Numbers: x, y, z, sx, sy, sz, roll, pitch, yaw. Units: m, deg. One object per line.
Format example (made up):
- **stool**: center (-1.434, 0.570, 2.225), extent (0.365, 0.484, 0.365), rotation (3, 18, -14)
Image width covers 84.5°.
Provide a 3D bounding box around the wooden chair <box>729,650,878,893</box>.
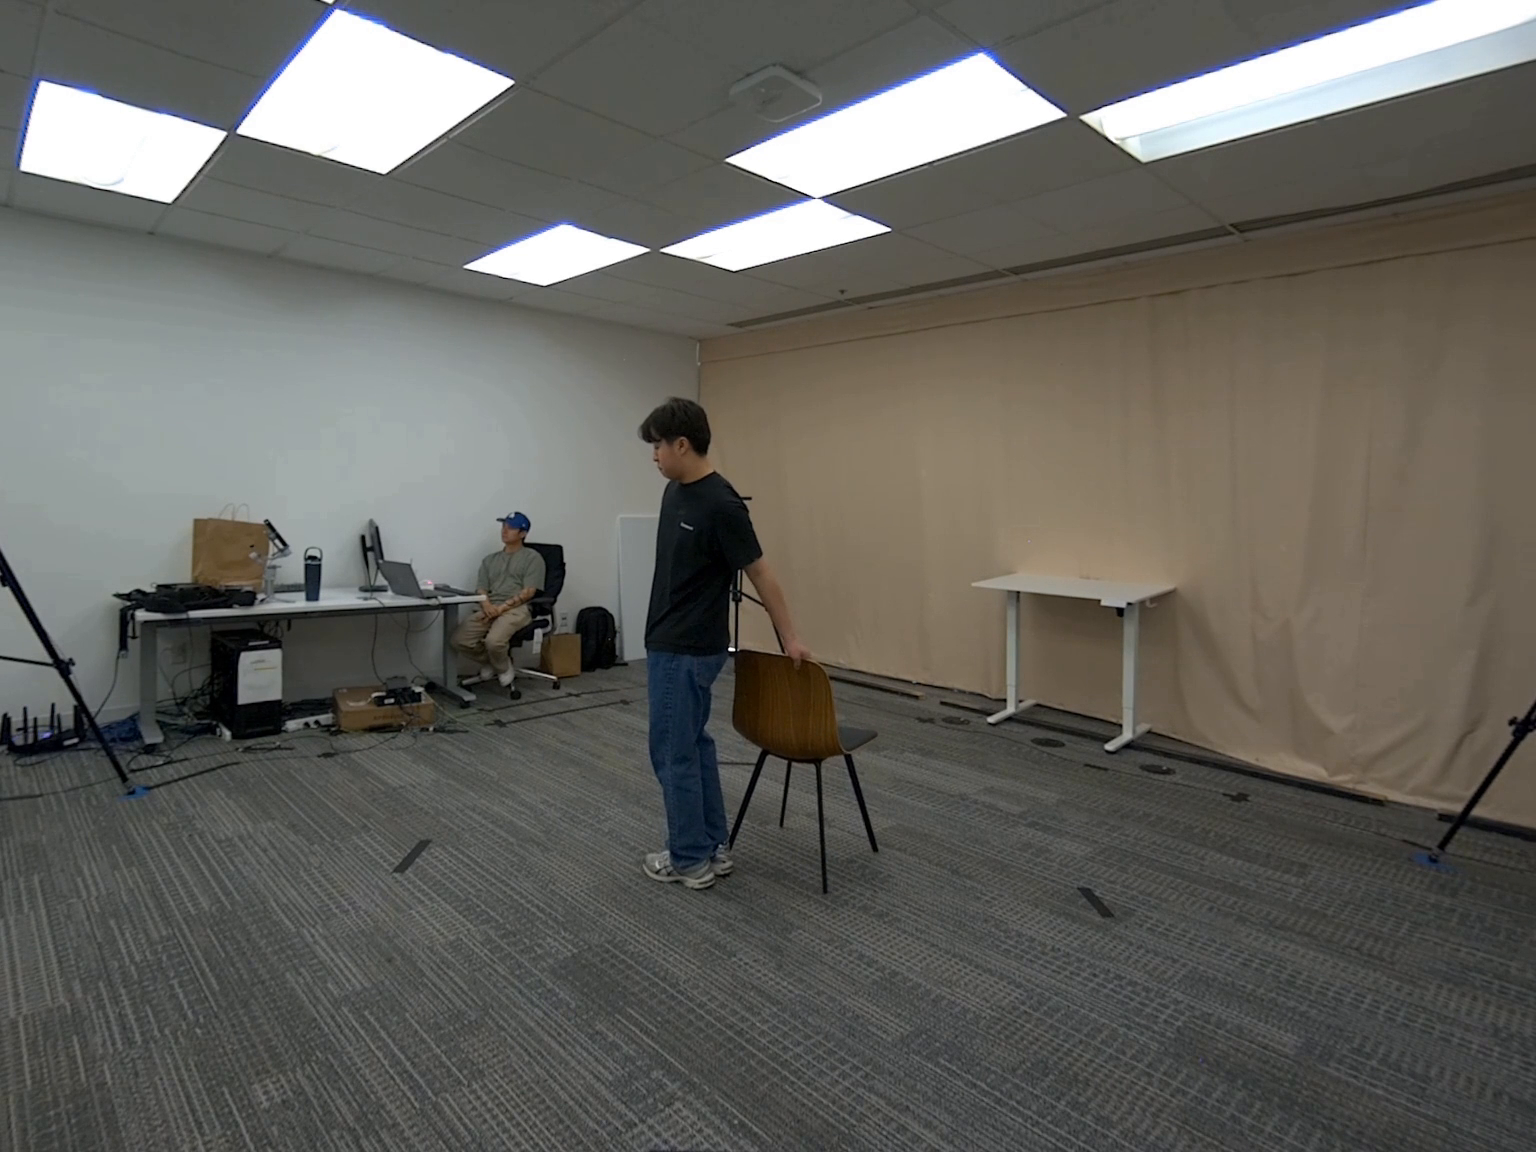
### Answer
- **wooden chair**: center (0.142, 0.670, 3.260), extent (0.489, 0.873, 0.514), rotation (3, 8, 32)
